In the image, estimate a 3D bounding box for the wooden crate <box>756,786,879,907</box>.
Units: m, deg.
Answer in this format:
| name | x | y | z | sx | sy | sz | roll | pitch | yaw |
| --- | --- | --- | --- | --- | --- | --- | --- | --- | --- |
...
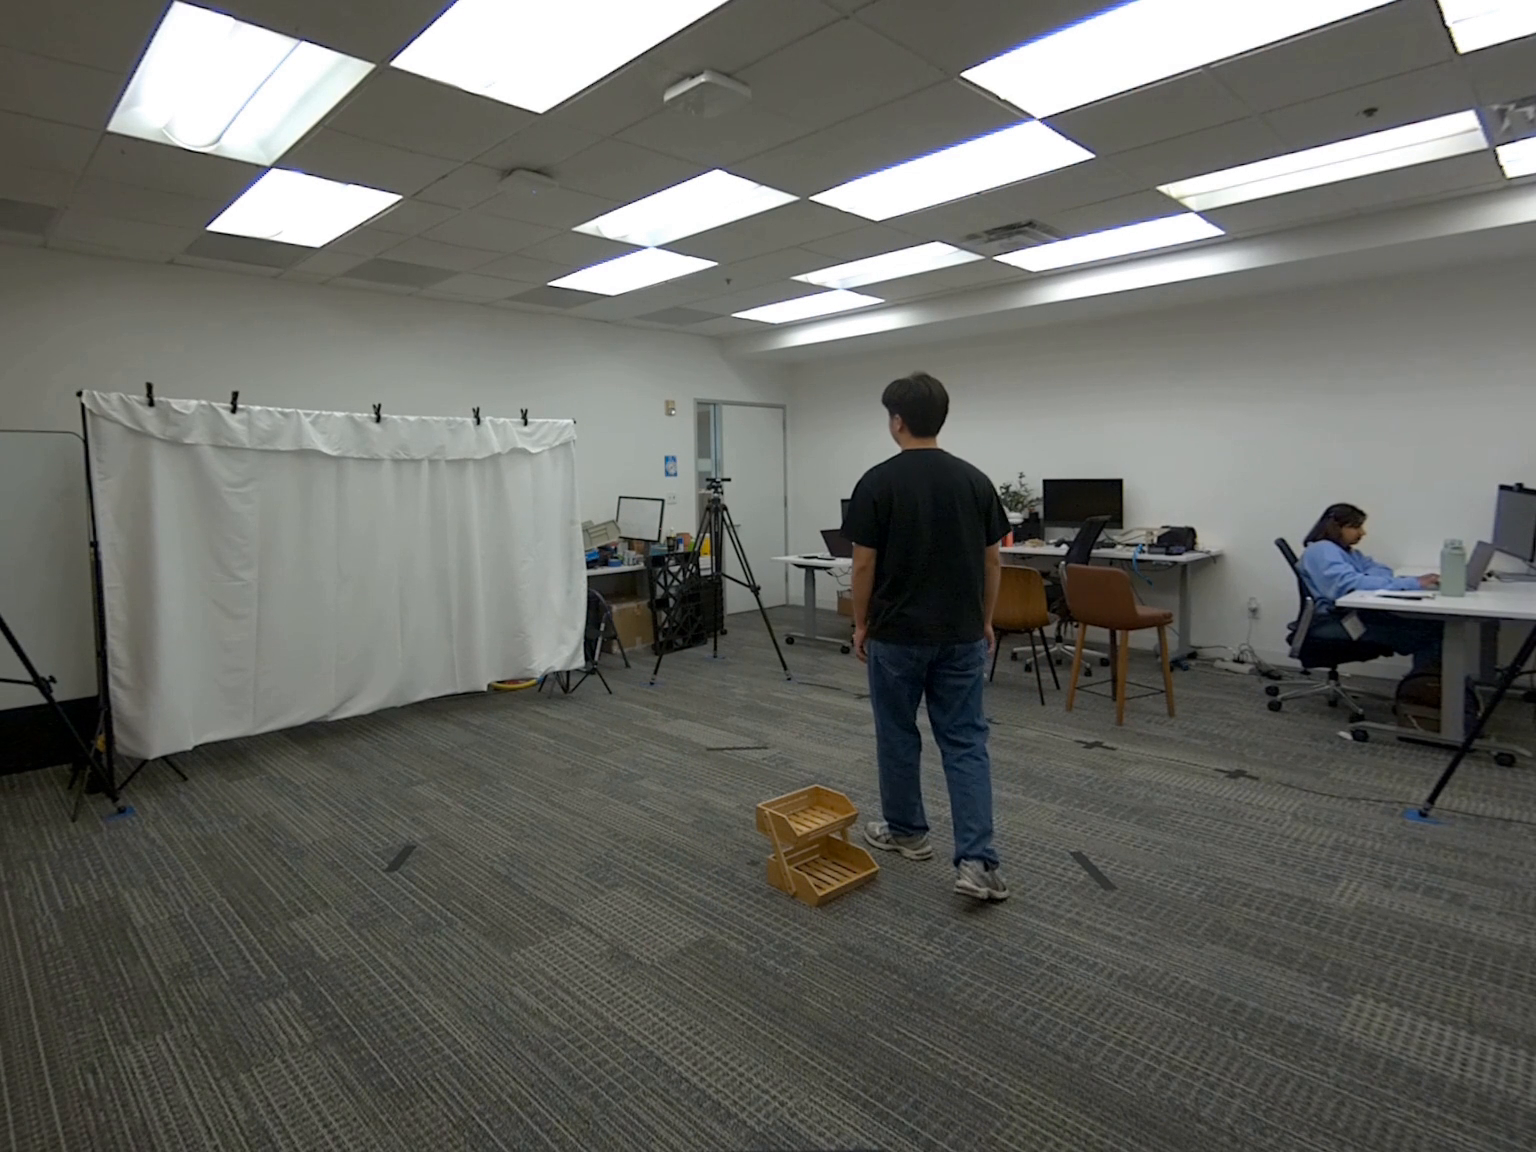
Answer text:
| name | x | y | z | sx | sy | sz | roll | pitch | yaw |
| --- | --- | --- | --- | --- | --- | --- | --- | --- | --- |
| wooden crate | 0.179 | 0.922 | 2.961 | 0.316 | 0.272 | 0.311 | -5 | 6 | -41 |
